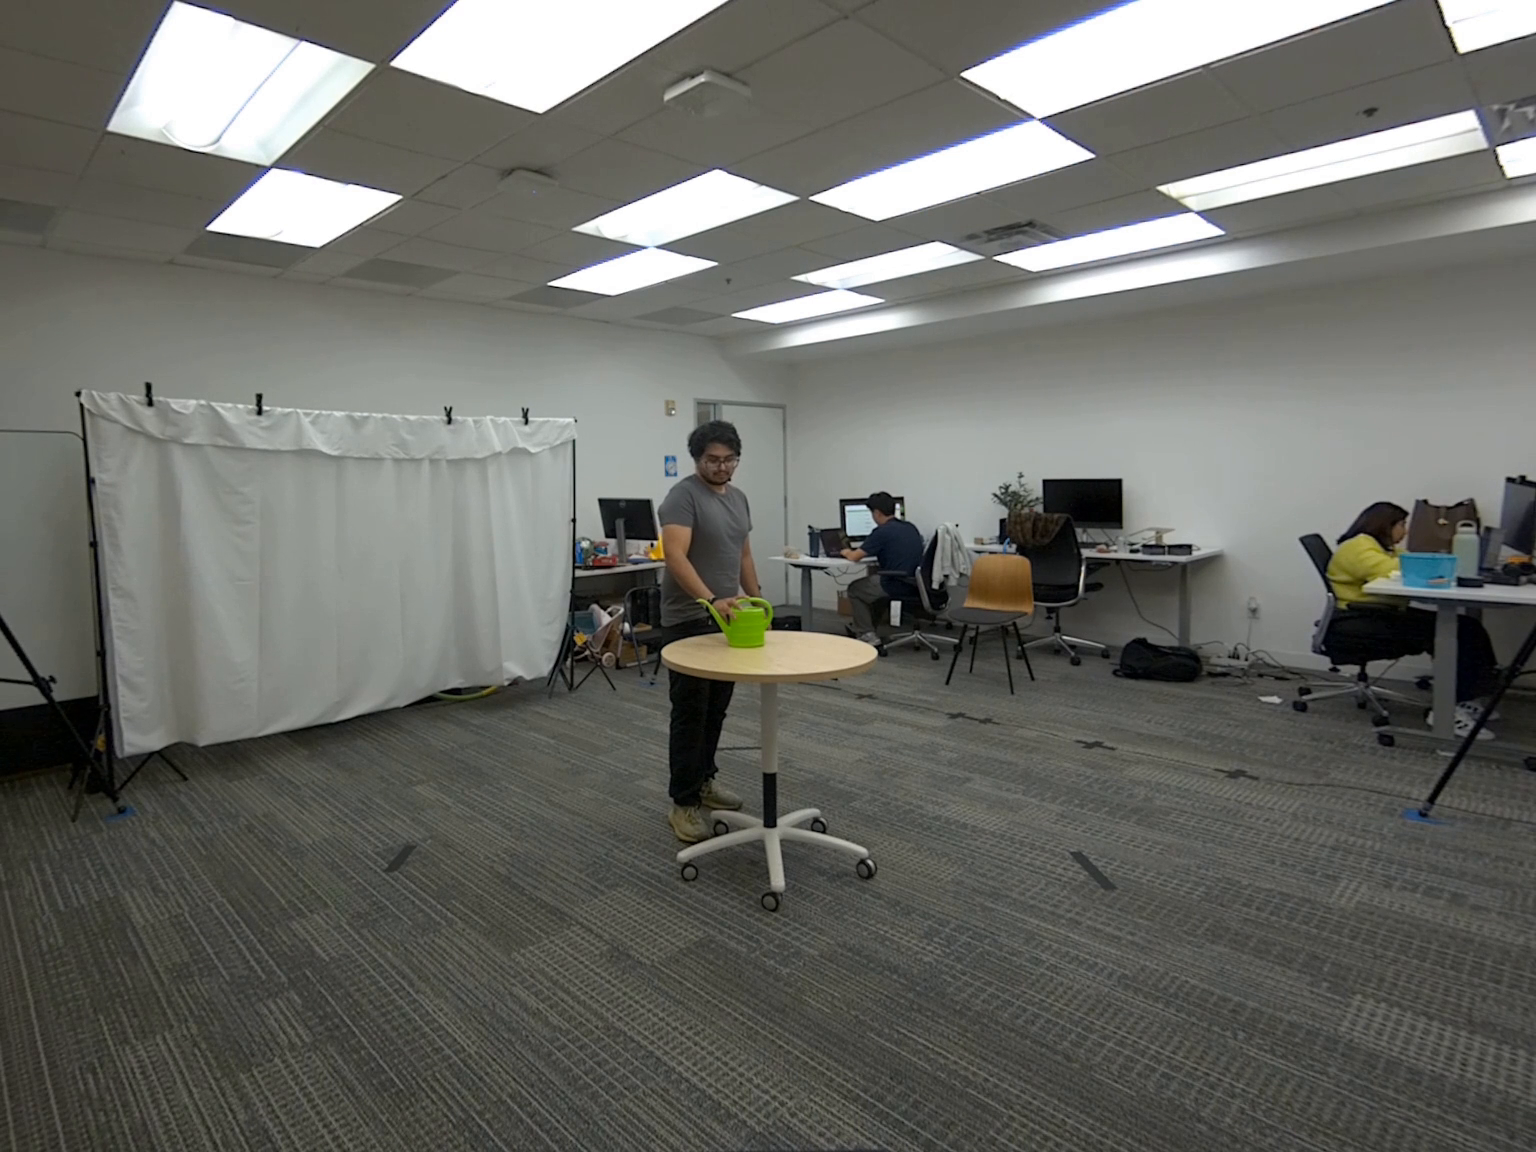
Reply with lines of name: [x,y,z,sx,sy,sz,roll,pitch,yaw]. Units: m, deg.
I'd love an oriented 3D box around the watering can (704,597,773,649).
watering can: [-0.127,0.173,3.129,0.278,0.176,0.098,2,5,-2]
